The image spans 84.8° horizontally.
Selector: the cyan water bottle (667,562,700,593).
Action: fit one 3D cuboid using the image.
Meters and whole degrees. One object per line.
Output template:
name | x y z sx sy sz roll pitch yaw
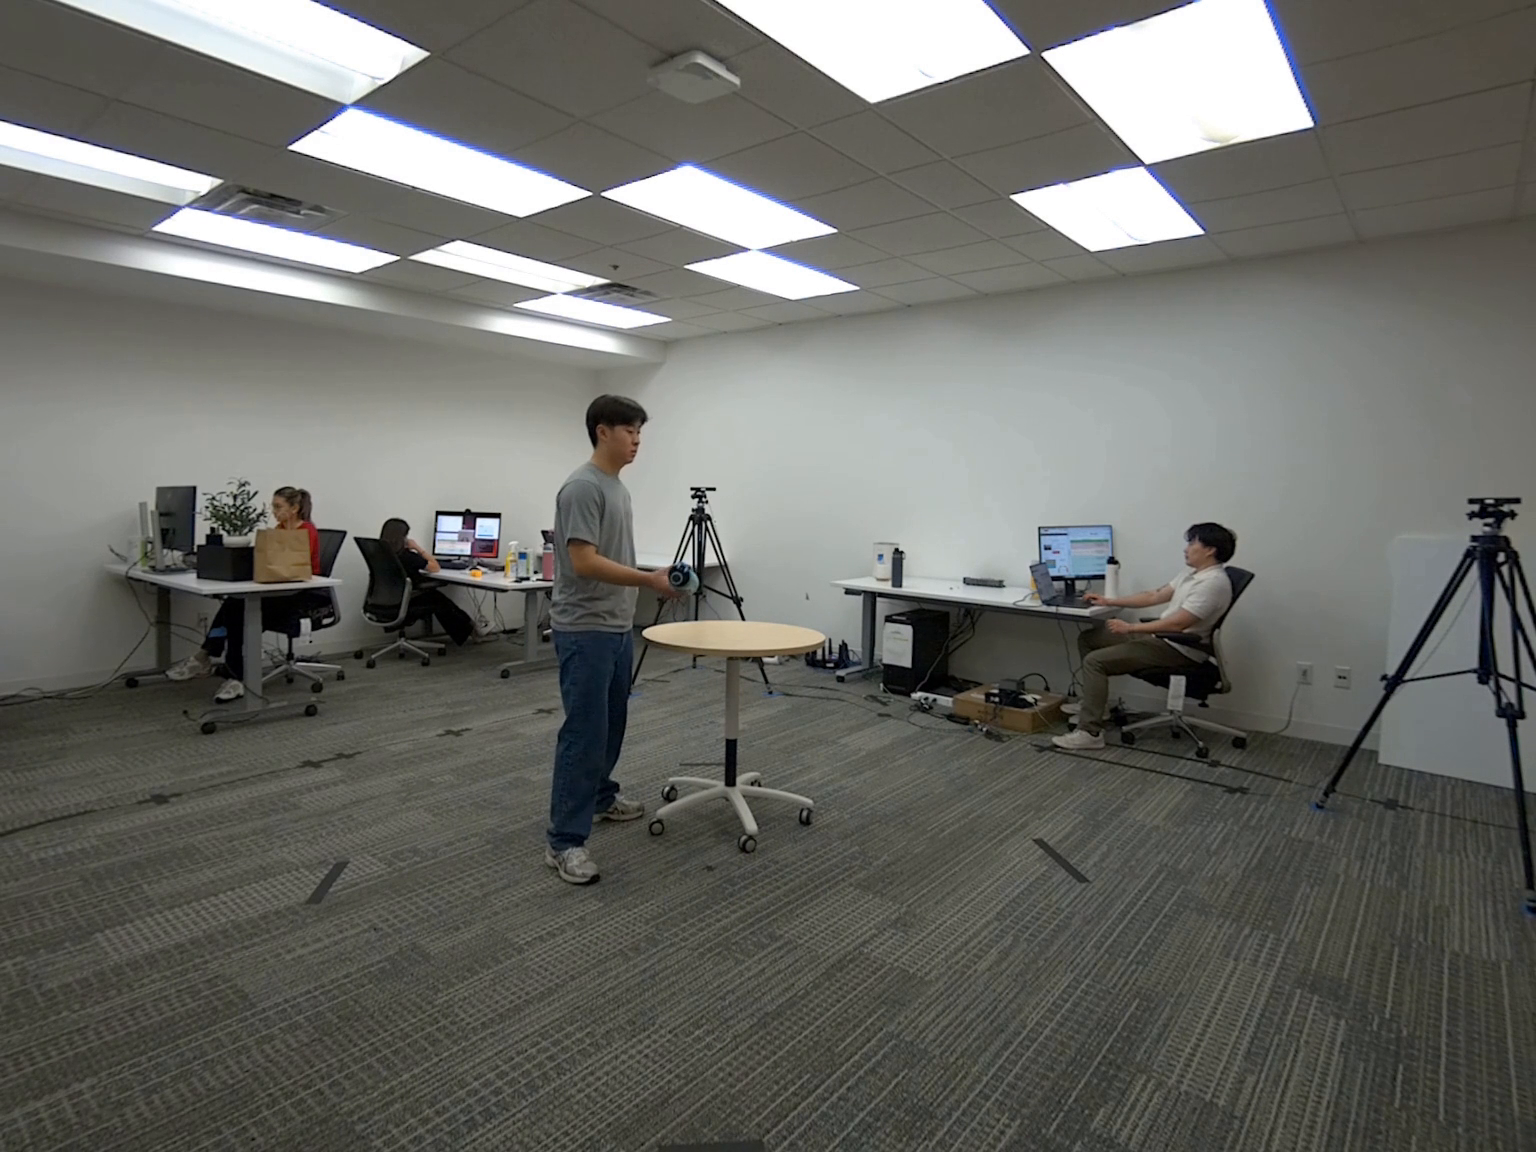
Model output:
cyan water bottle | -0.315 0.009 3.027 0.092 0.093 0.281 1 -7 -2
